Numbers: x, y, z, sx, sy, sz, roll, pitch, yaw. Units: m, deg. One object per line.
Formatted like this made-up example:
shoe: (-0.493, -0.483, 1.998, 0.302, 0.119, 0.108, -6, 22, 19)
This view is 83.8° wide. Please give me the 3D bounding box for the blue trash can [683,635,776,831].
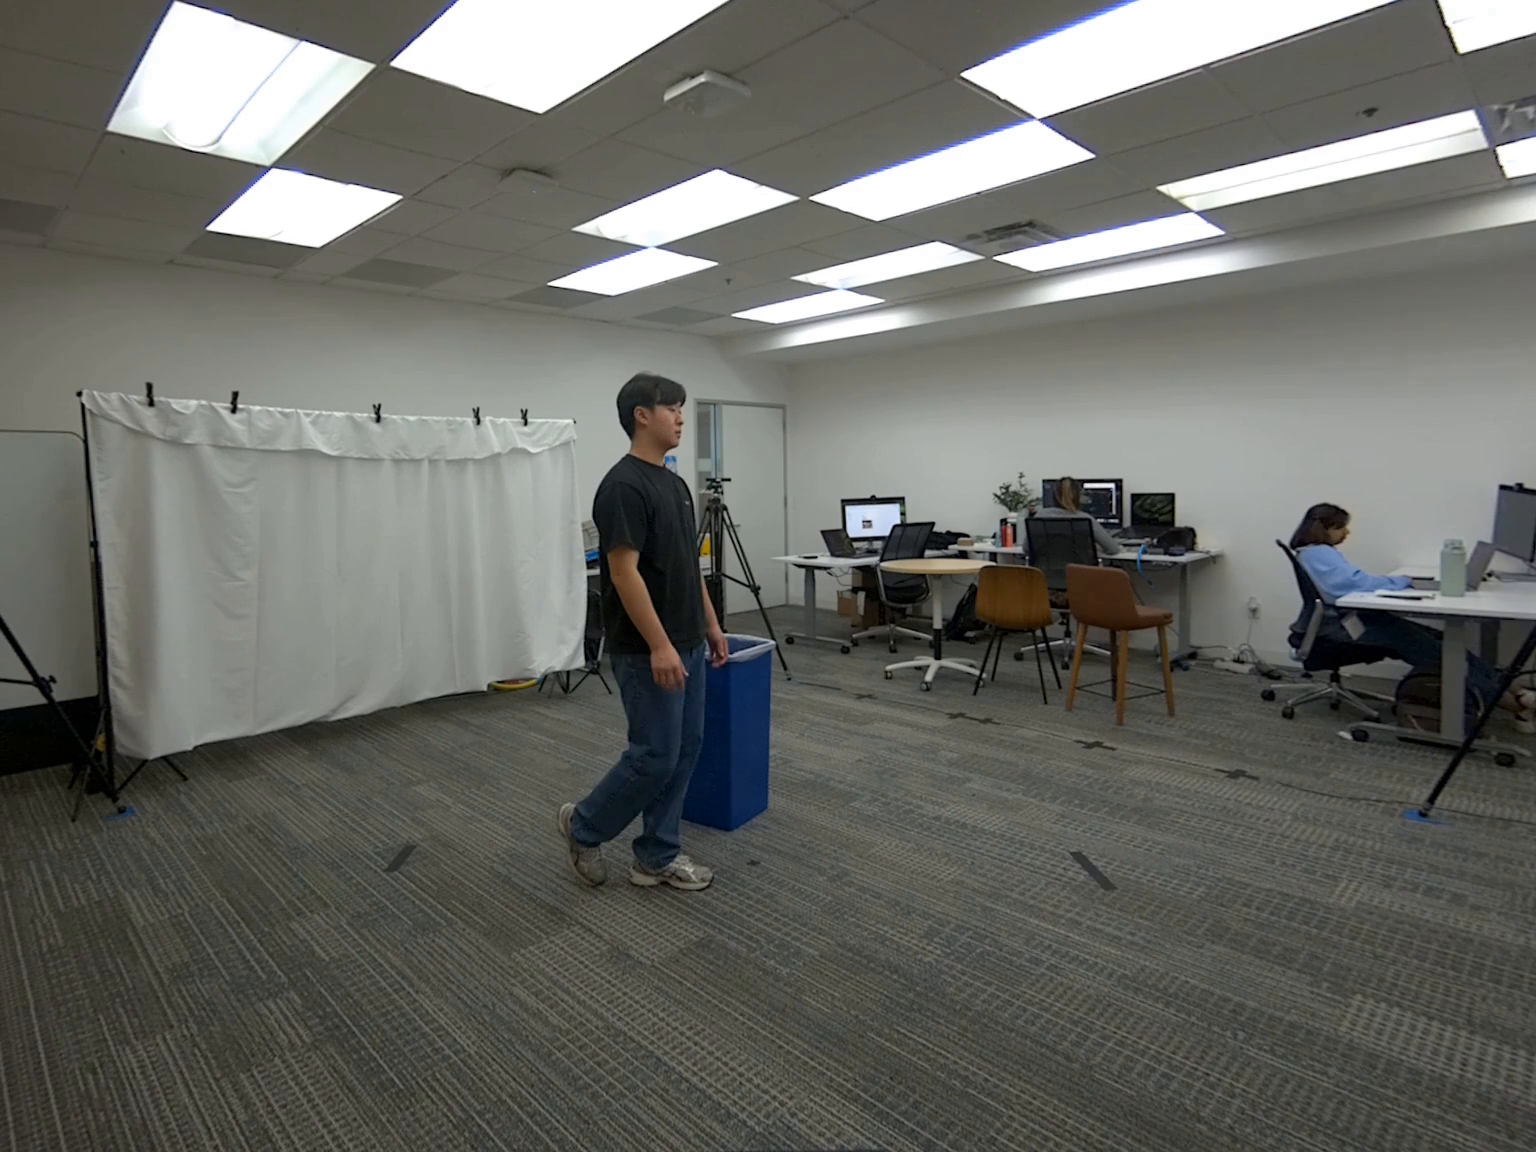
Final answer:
blue trash can: (-0.193, 0.633, 3.562, 0.384, 0.711, 0.369, 1, 5, 31)
